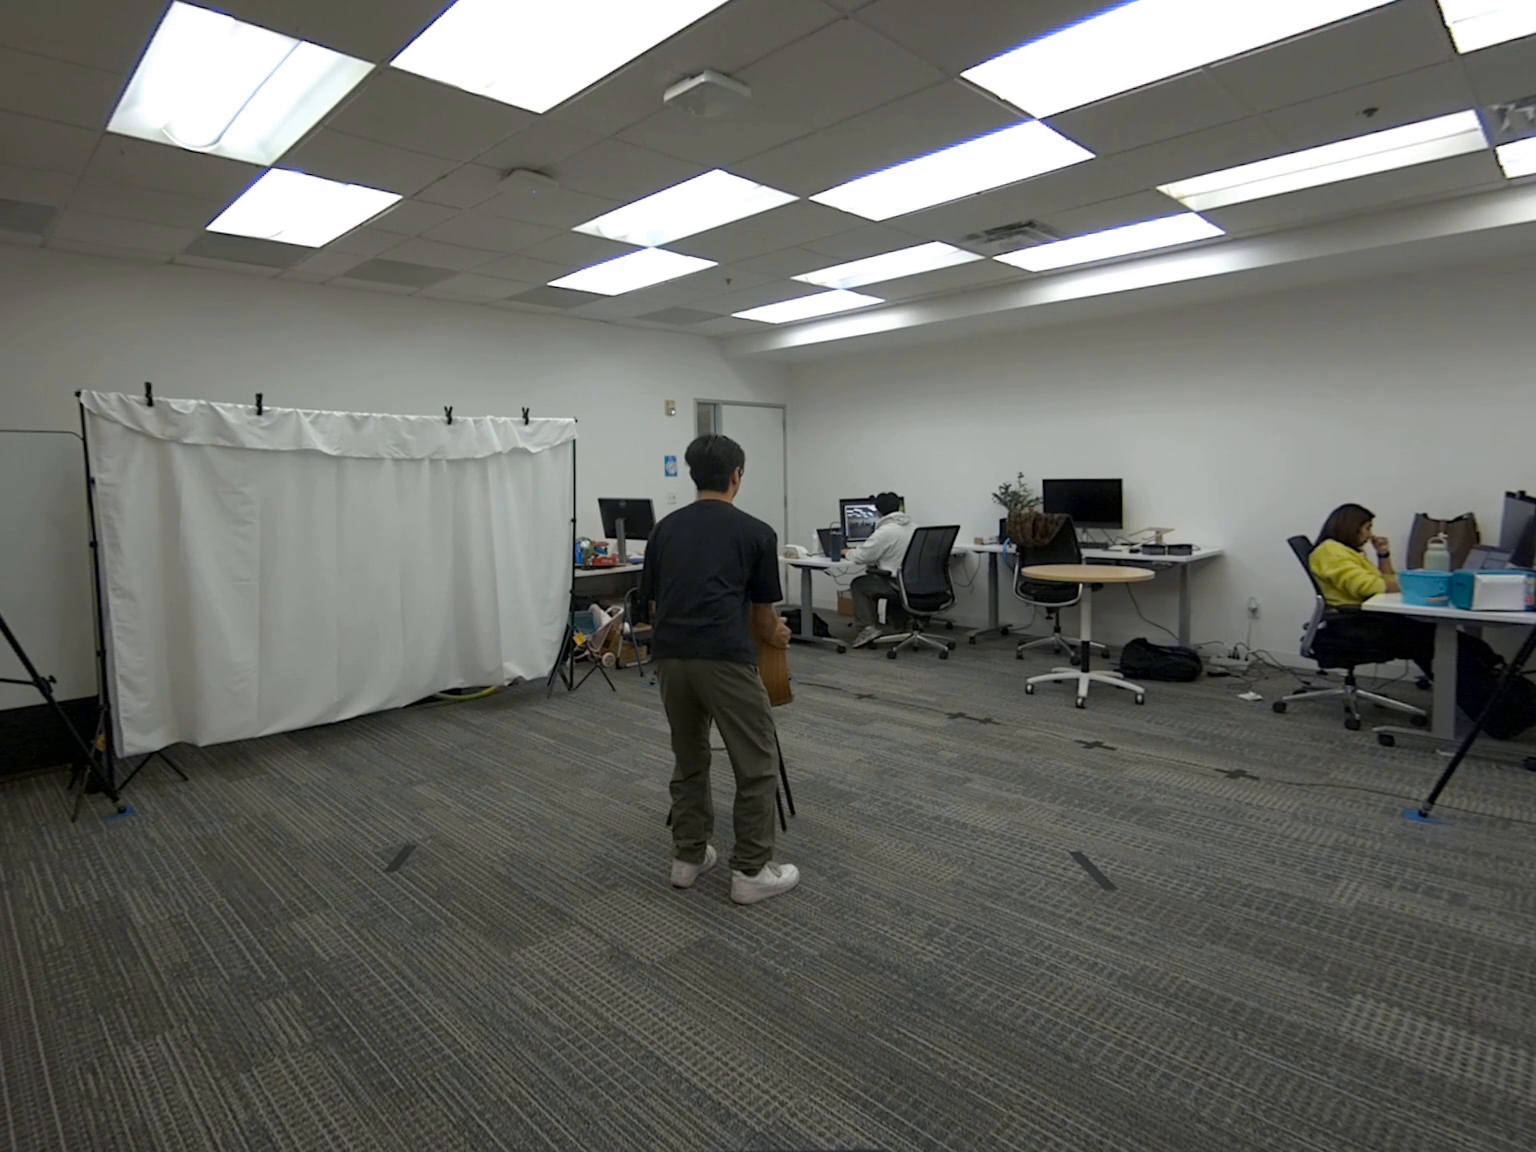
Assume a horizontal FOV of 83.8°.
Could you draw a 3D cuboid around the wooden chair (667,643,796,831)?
[{"bbox_3d":[-0.125,0.540,3.437,0.482,0.882,0.516,-1,-6,8],"label":"wooden chair"}]
